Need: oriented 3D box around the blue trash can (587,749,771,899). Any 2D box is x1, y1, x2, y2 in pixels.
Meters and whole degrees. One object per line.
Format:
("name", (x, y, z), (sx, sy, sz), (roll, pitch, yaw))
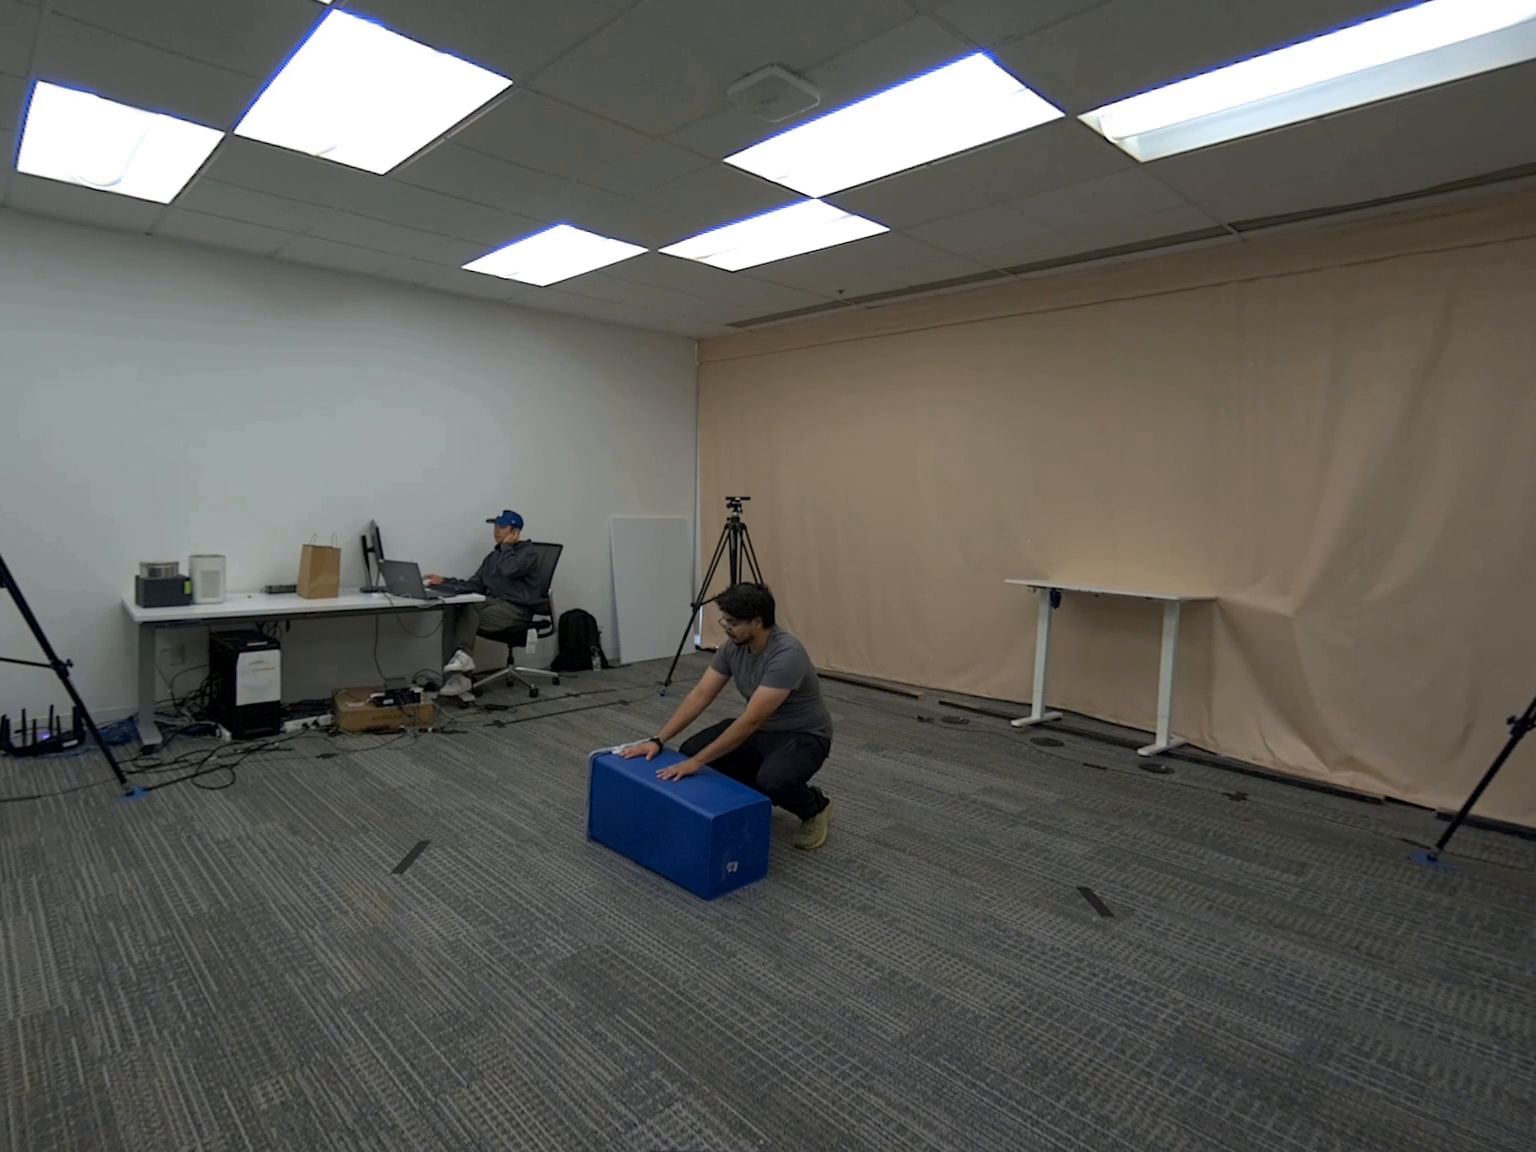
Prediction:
("blue trash can", (-0.361, 0.924, 3.235), (0.365, 0.376, 0.733), (-2, 8, -43))
